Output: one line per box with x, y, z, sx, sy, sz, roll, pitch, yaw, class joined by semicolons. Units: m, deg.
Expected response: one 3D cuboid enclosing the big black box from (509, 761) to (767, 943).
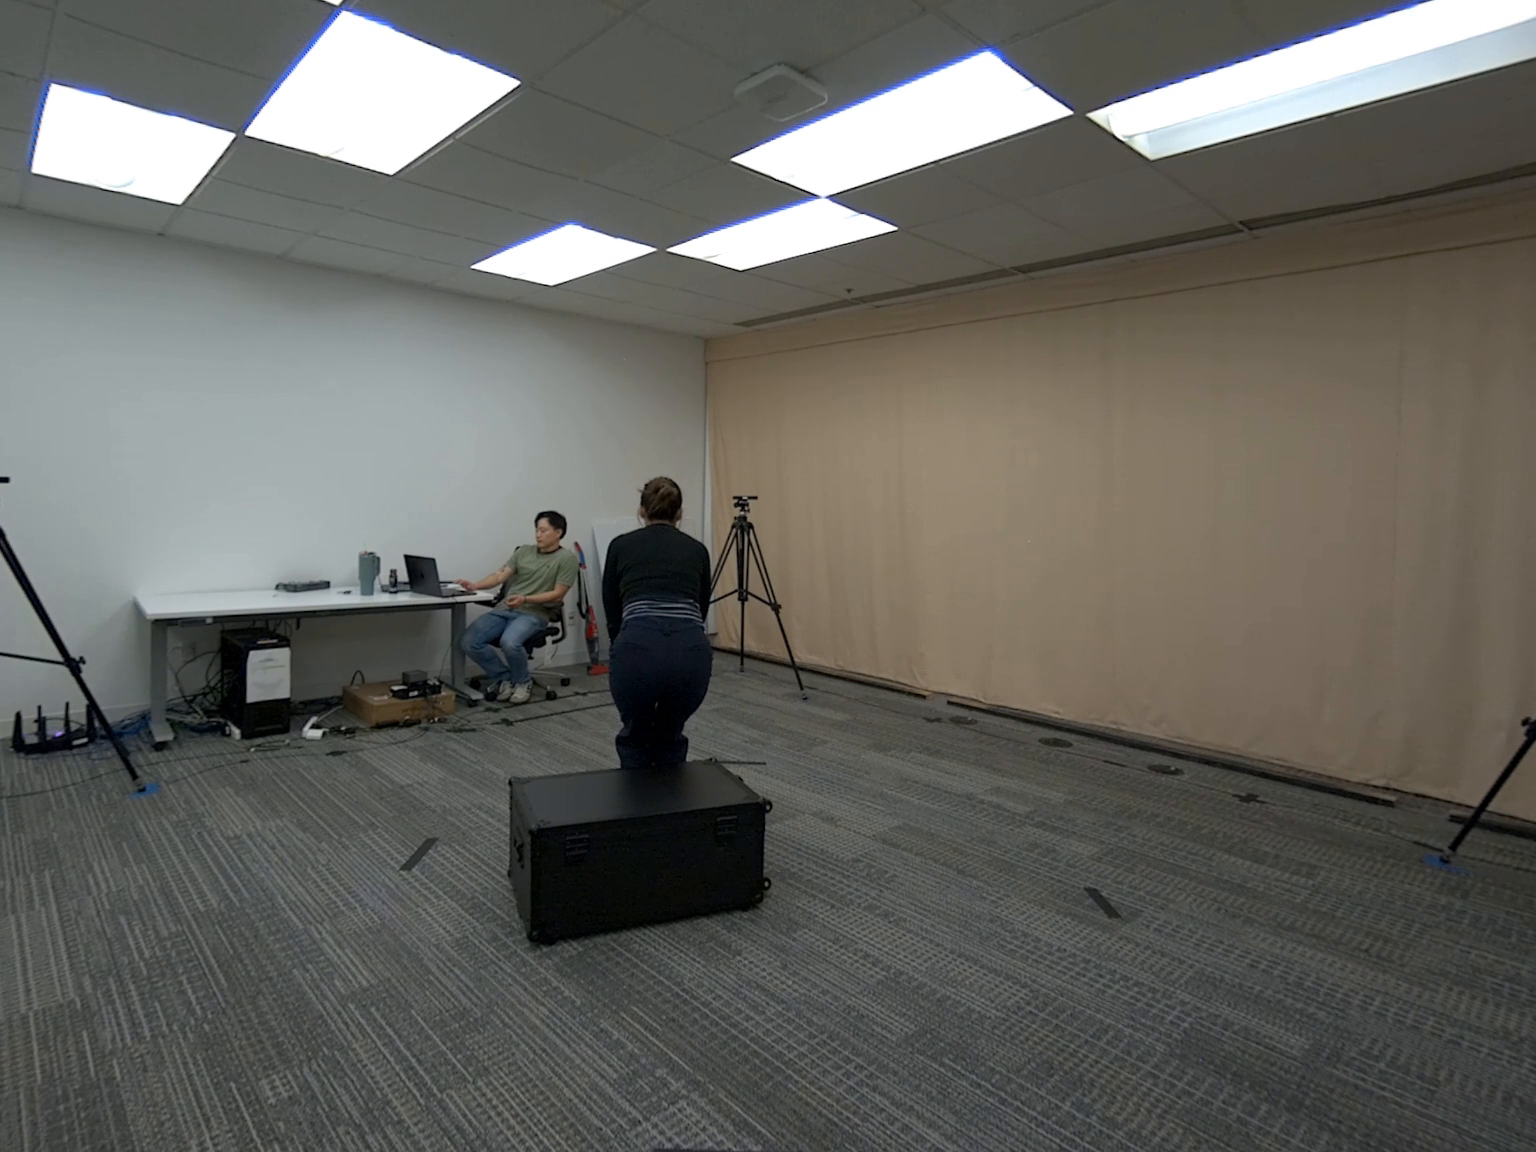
-0.496;0.922;2.900;0.847;0.395;0.532;0;5;-23;big black box
